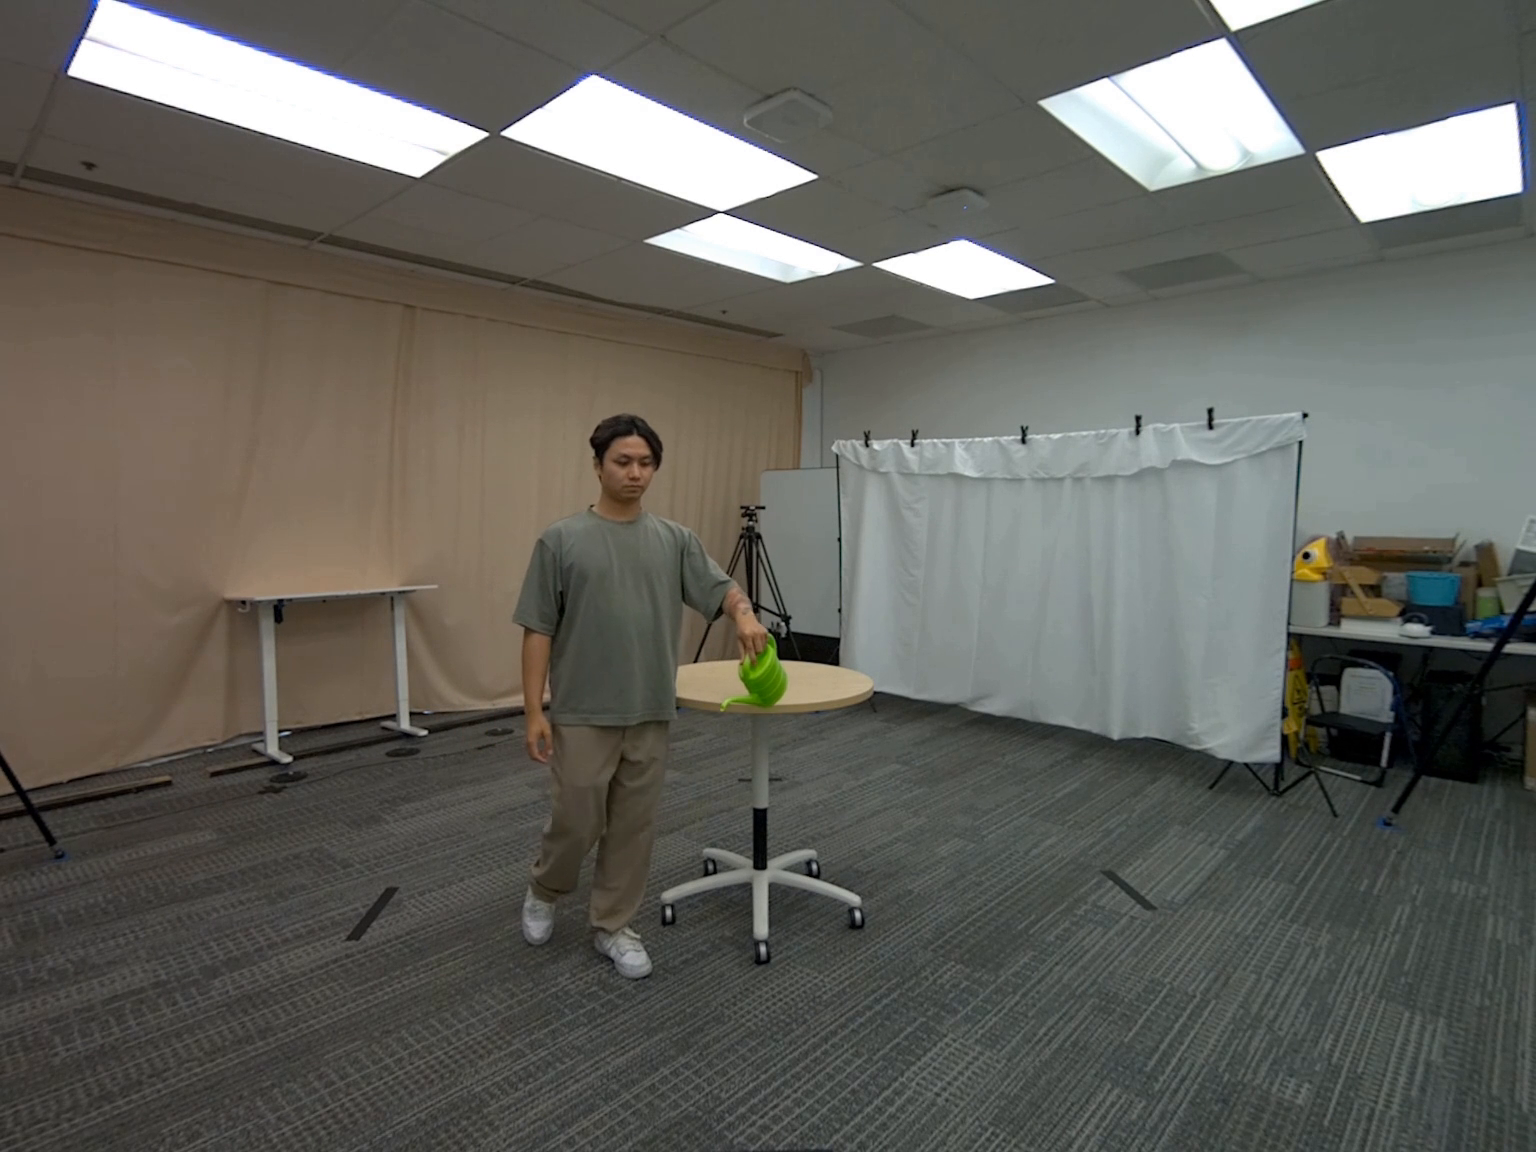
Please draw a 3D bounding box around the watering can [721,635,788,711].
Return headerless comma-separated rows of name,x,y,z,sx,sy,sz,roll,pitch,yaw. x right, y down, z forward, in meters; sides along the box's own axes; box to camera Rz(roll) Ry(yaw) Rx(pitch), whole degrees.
watering can,-0.041,0.291,2.283,0.101,0.171,0.277,15,56,40
